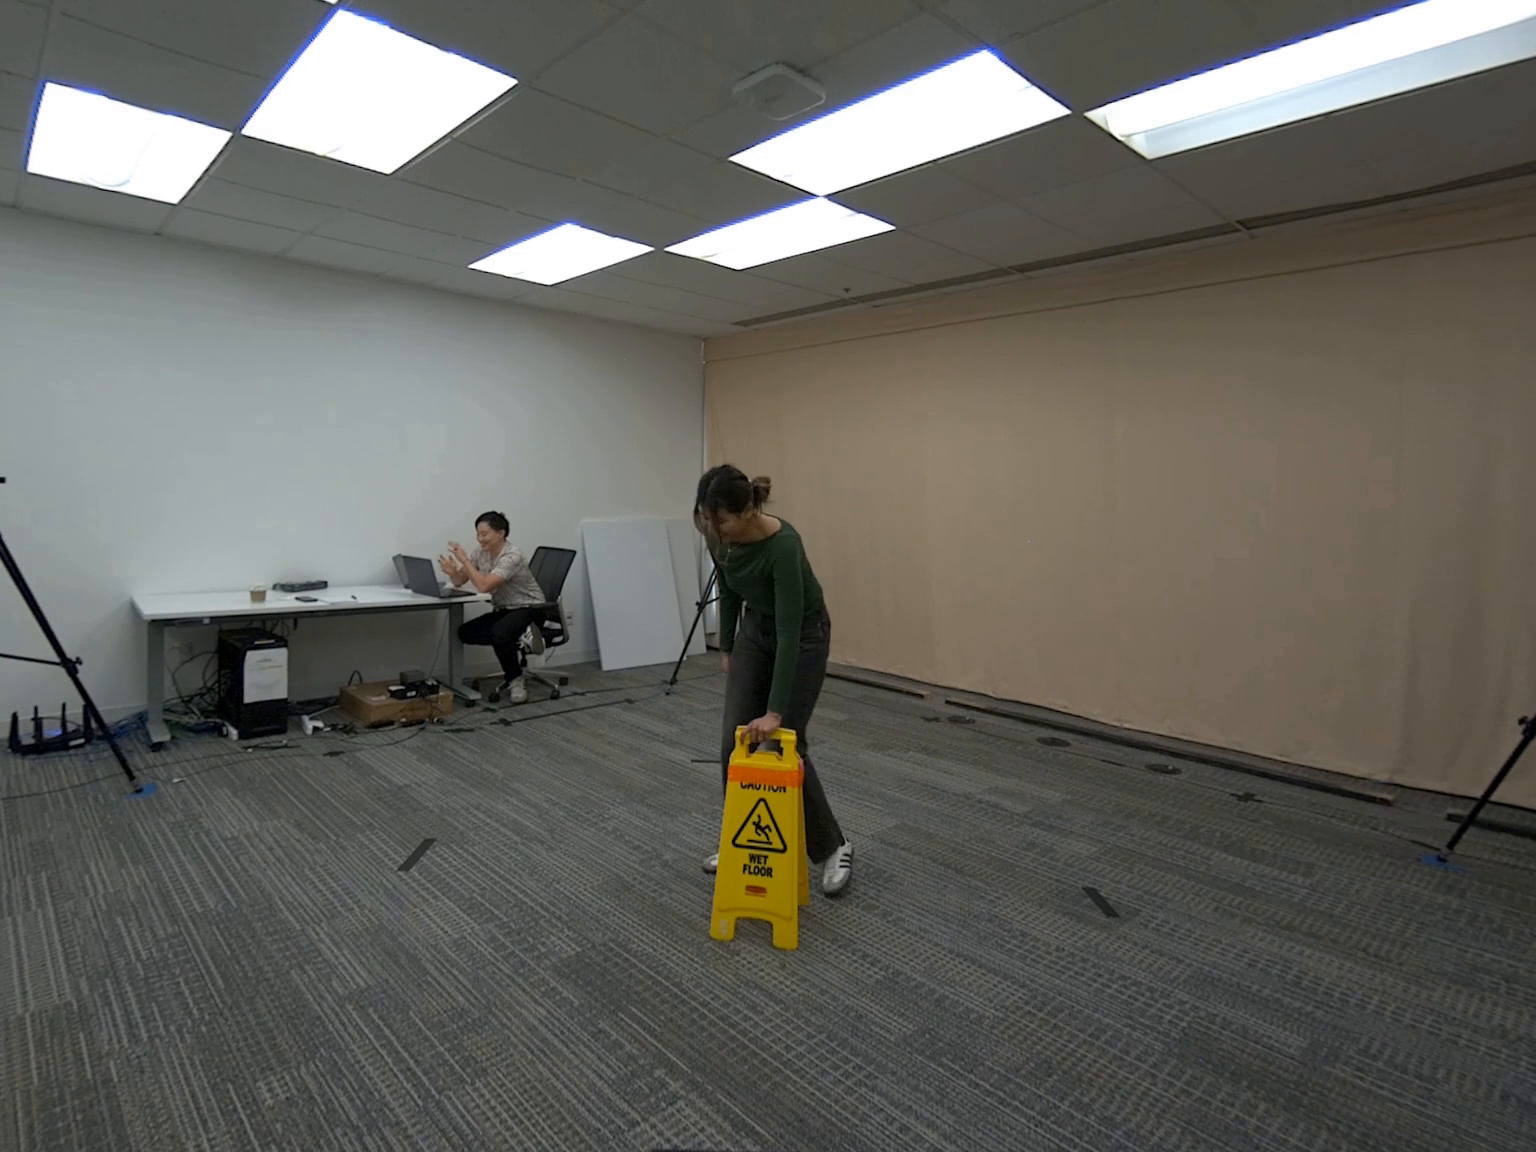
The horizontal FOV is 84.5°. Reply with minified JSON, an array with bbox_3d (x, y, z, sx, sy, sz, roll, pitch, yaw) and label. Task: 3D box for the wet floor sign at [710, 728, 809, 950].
[{"bbox_3d":[-0.017,0.816,2.749,0.285,0.644,0.288,2,4,9],"label":"wet floor sign"}]
